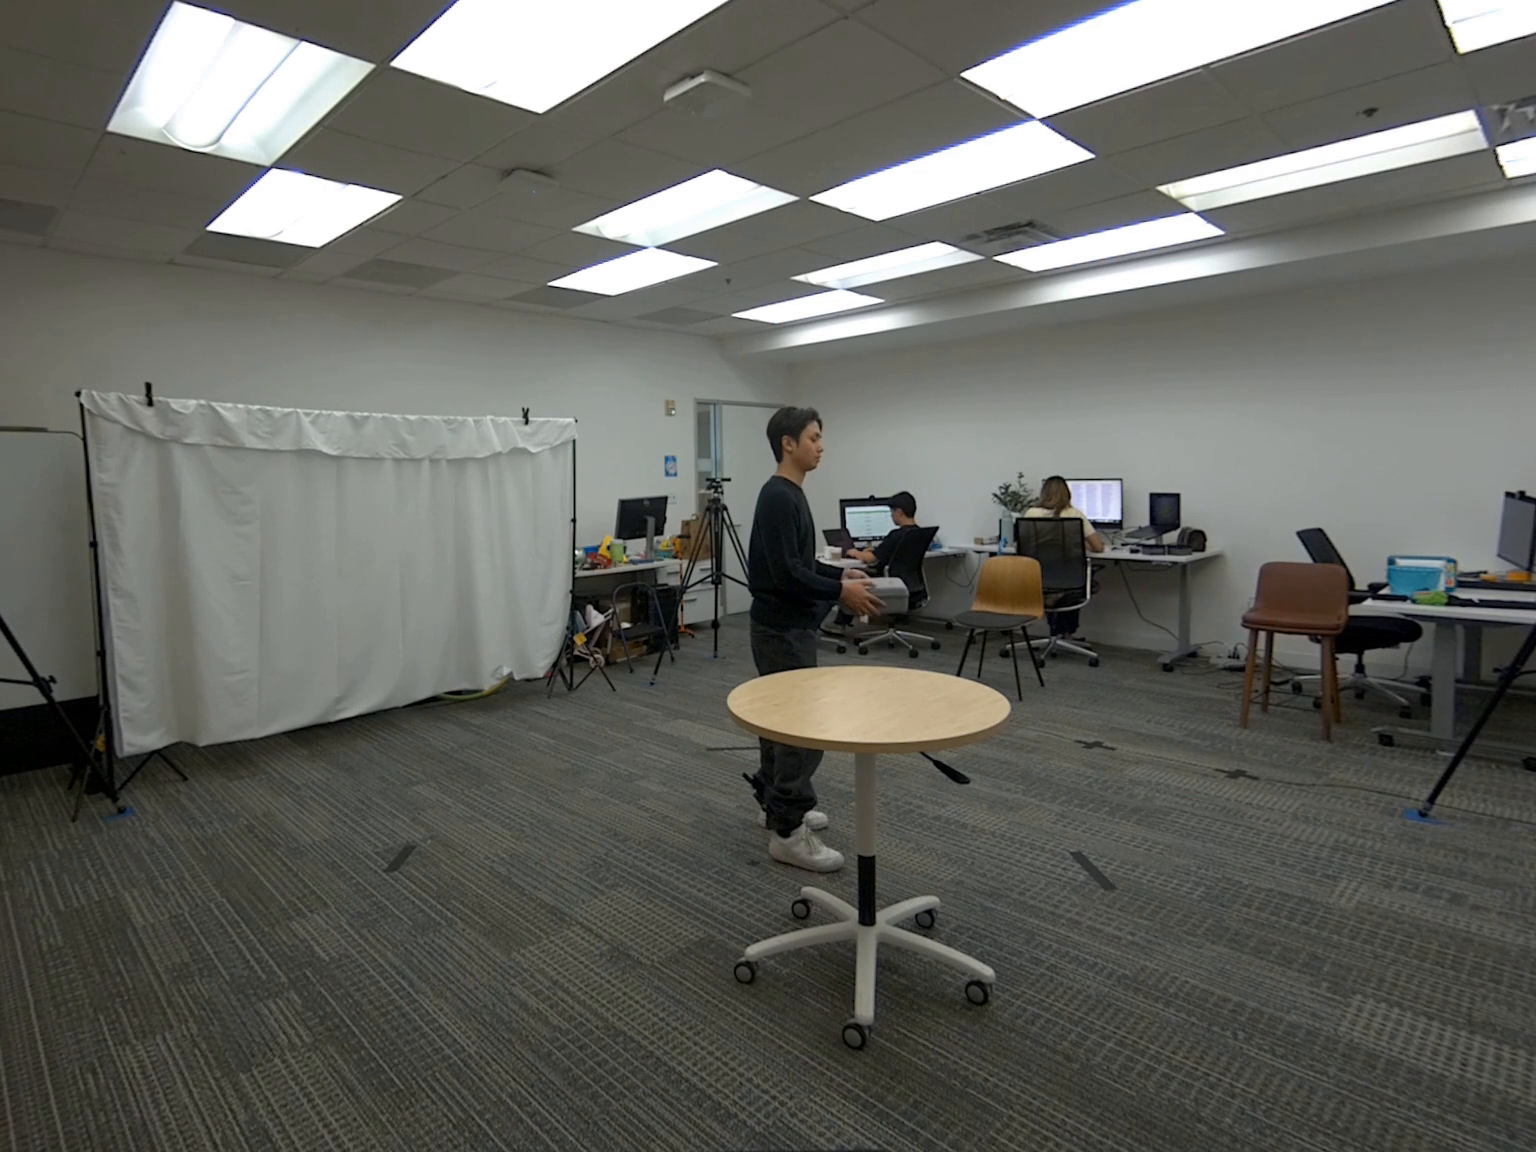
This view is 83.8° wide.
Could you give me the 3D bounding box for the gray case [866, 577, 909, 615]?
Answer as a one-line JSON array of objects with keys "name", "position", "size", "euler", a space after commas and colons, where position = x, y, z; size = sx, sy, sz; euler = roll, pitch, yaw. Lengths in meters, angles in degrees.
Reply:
[{"name": "gray case", "position": [0.397, 0.073, 3.319], "size": [0.263, 0.103, 0.257], "euler": [-2, 9, 7]}]
